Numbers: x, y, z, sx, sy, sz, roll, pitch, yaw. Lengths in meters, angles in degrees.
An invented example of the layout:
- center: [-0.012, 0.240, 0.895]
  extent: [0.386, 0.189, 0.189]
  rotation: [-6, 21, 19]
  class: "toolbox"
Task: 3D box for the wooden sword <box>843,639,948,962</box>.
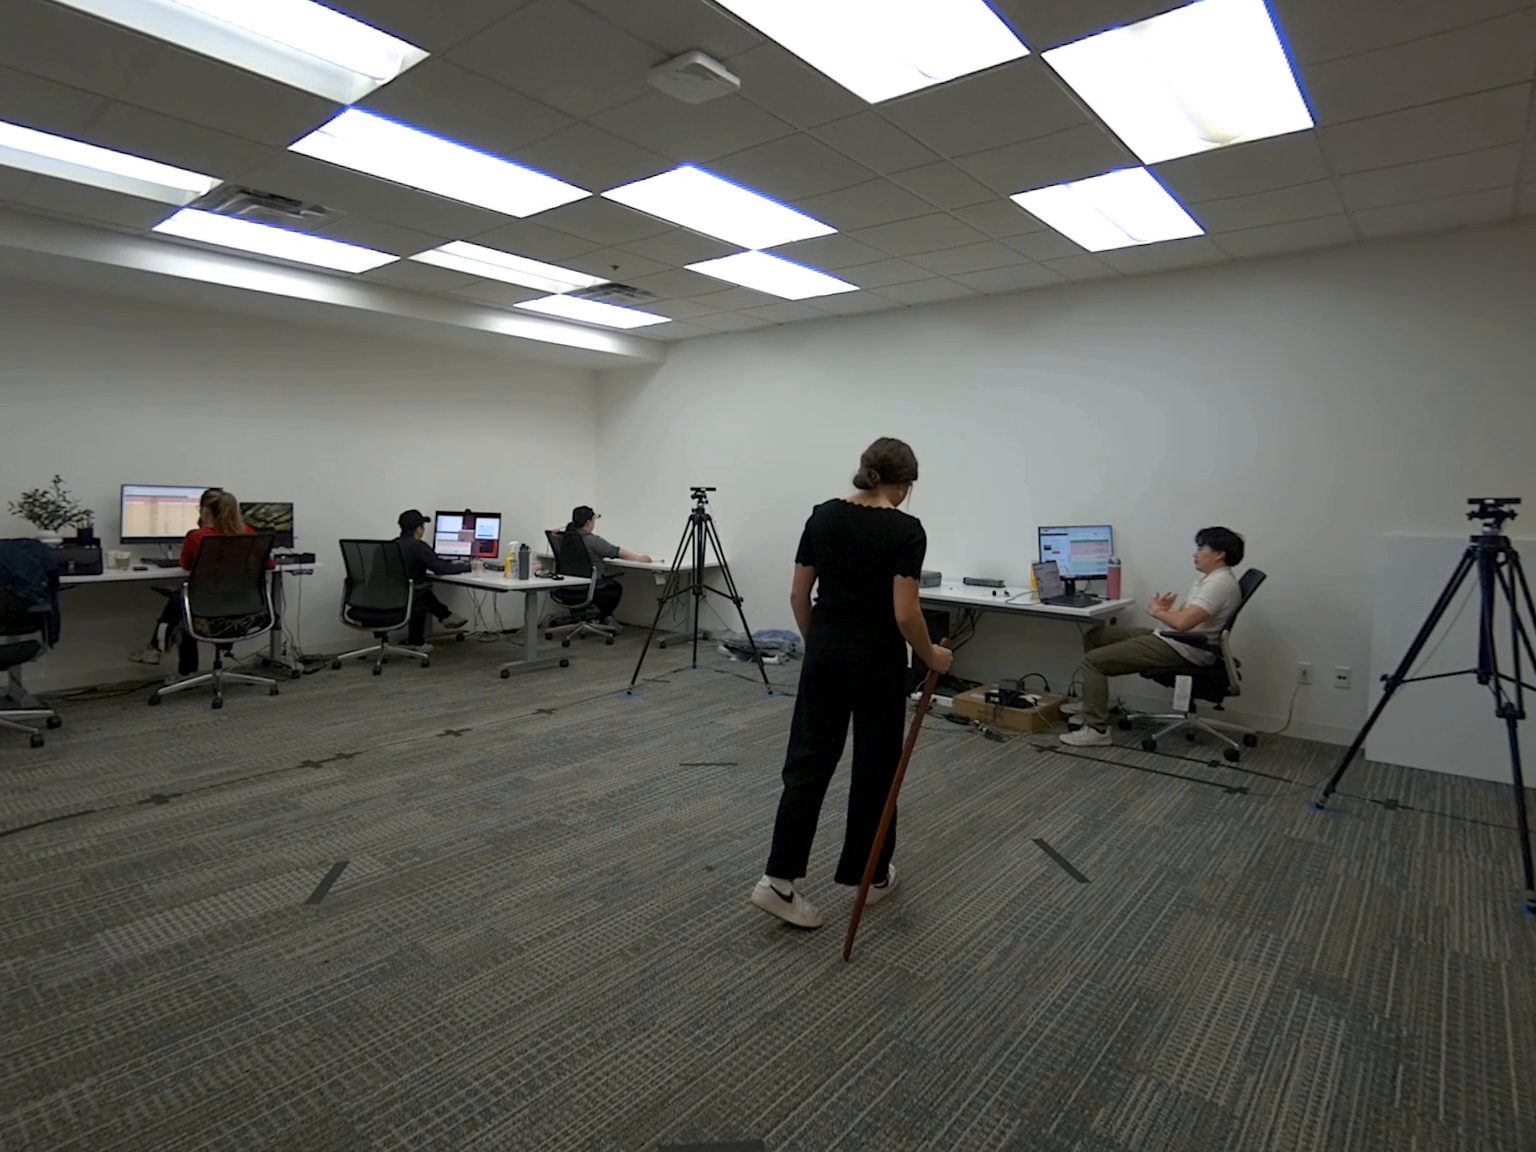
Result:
- center: [0.406, 0.679, 2.648]
  extent: [0.053, 1.033, 0.023]
  rotation: [13, -20, 29]
  class: "wooden sword"
